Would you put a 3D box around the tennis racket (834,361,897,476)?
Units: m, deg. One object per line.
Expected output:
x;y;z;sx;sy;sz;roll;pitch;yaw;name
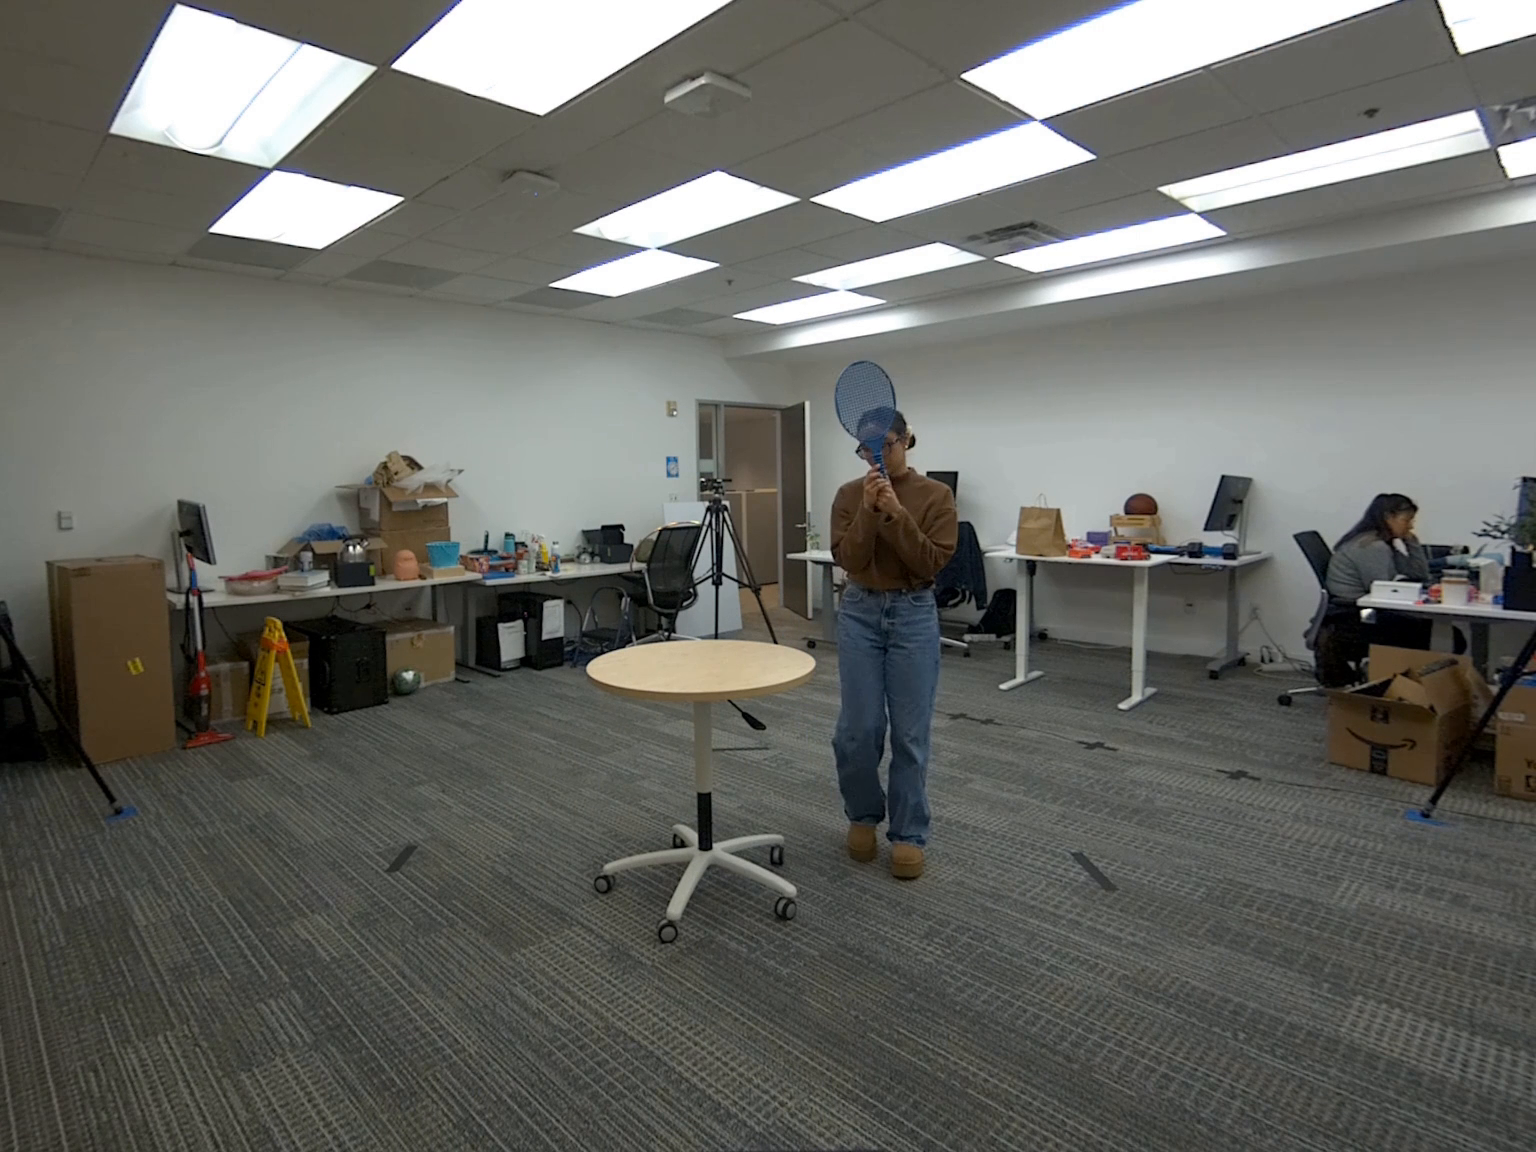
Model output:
0.342;-0.508;2.874;0.212;0.426;0.032;-19;13;-12;tennis racket
